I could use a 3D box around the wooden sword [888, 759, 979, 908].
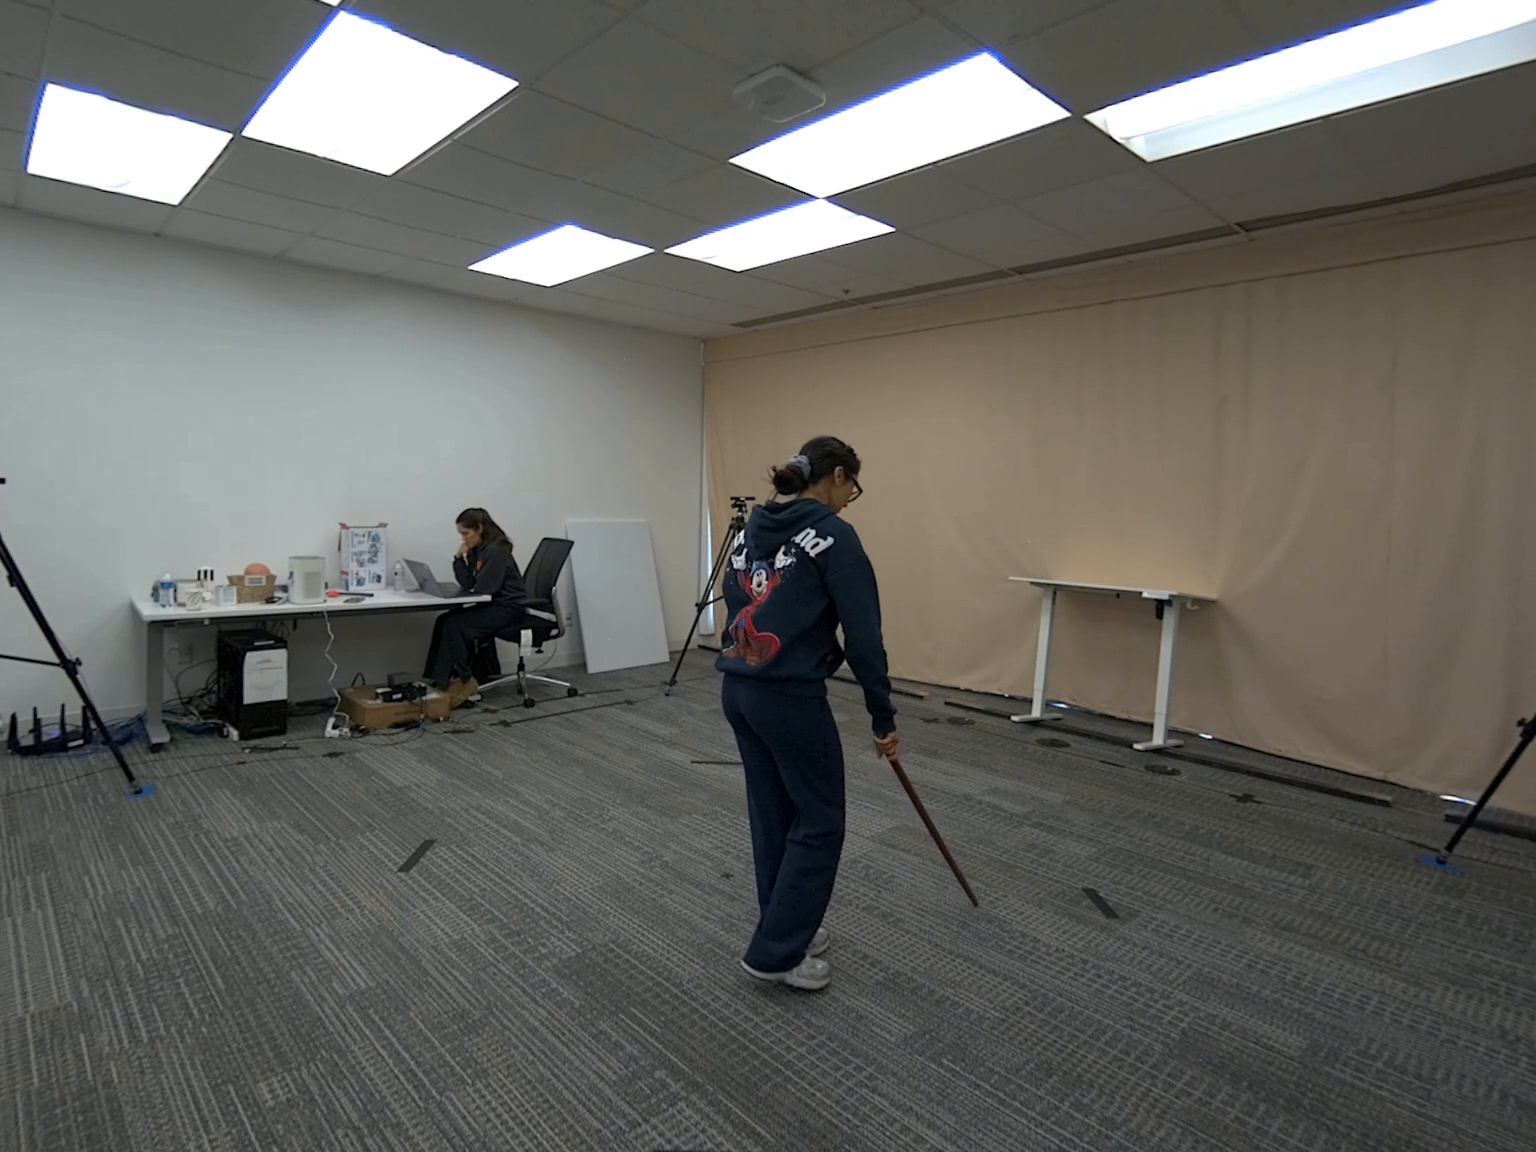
[{"bbox_3d":[0.506,0.803,2.639,0.025,0.051,0.994,18,-31,46],"label":"wooden sword"}]
